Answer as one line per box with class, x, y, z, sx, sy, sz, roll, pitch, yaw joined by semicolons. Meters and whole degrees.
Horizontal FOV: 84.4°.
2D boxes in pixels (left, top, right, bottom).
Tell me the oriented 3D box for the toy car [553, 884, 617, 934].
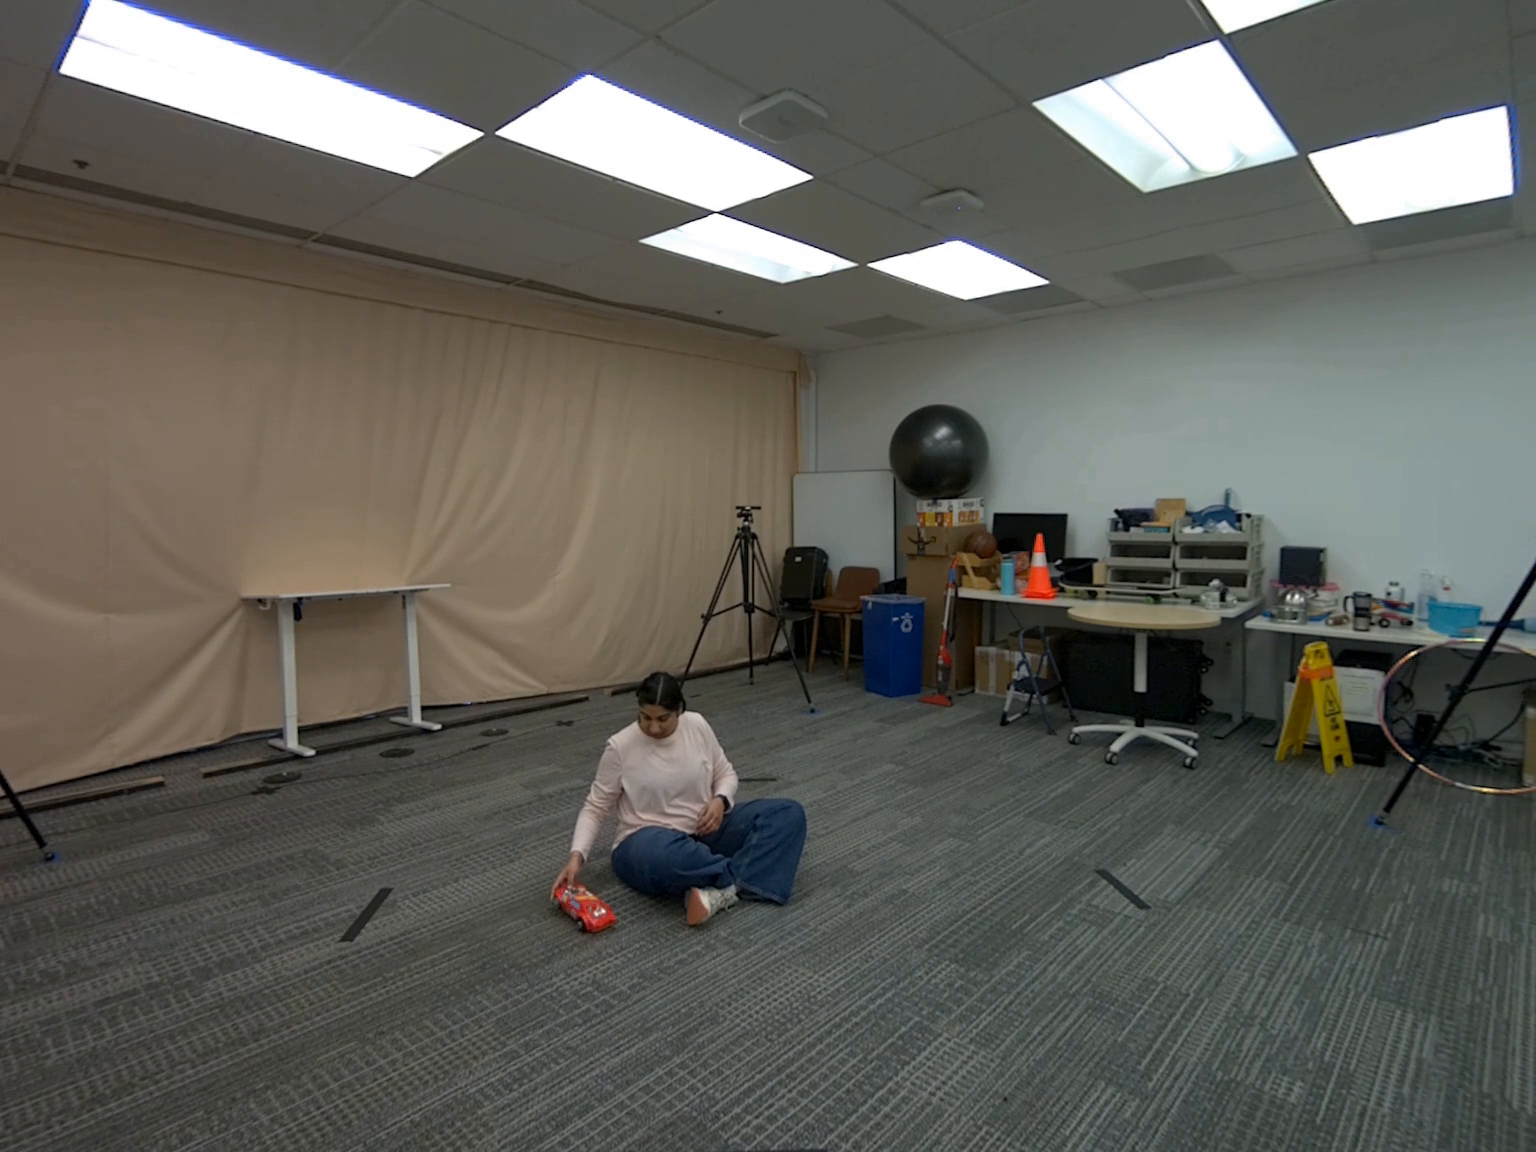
toy car;-0.609;1.118;2.837;0.263;0.083;0.126;4;7;45
